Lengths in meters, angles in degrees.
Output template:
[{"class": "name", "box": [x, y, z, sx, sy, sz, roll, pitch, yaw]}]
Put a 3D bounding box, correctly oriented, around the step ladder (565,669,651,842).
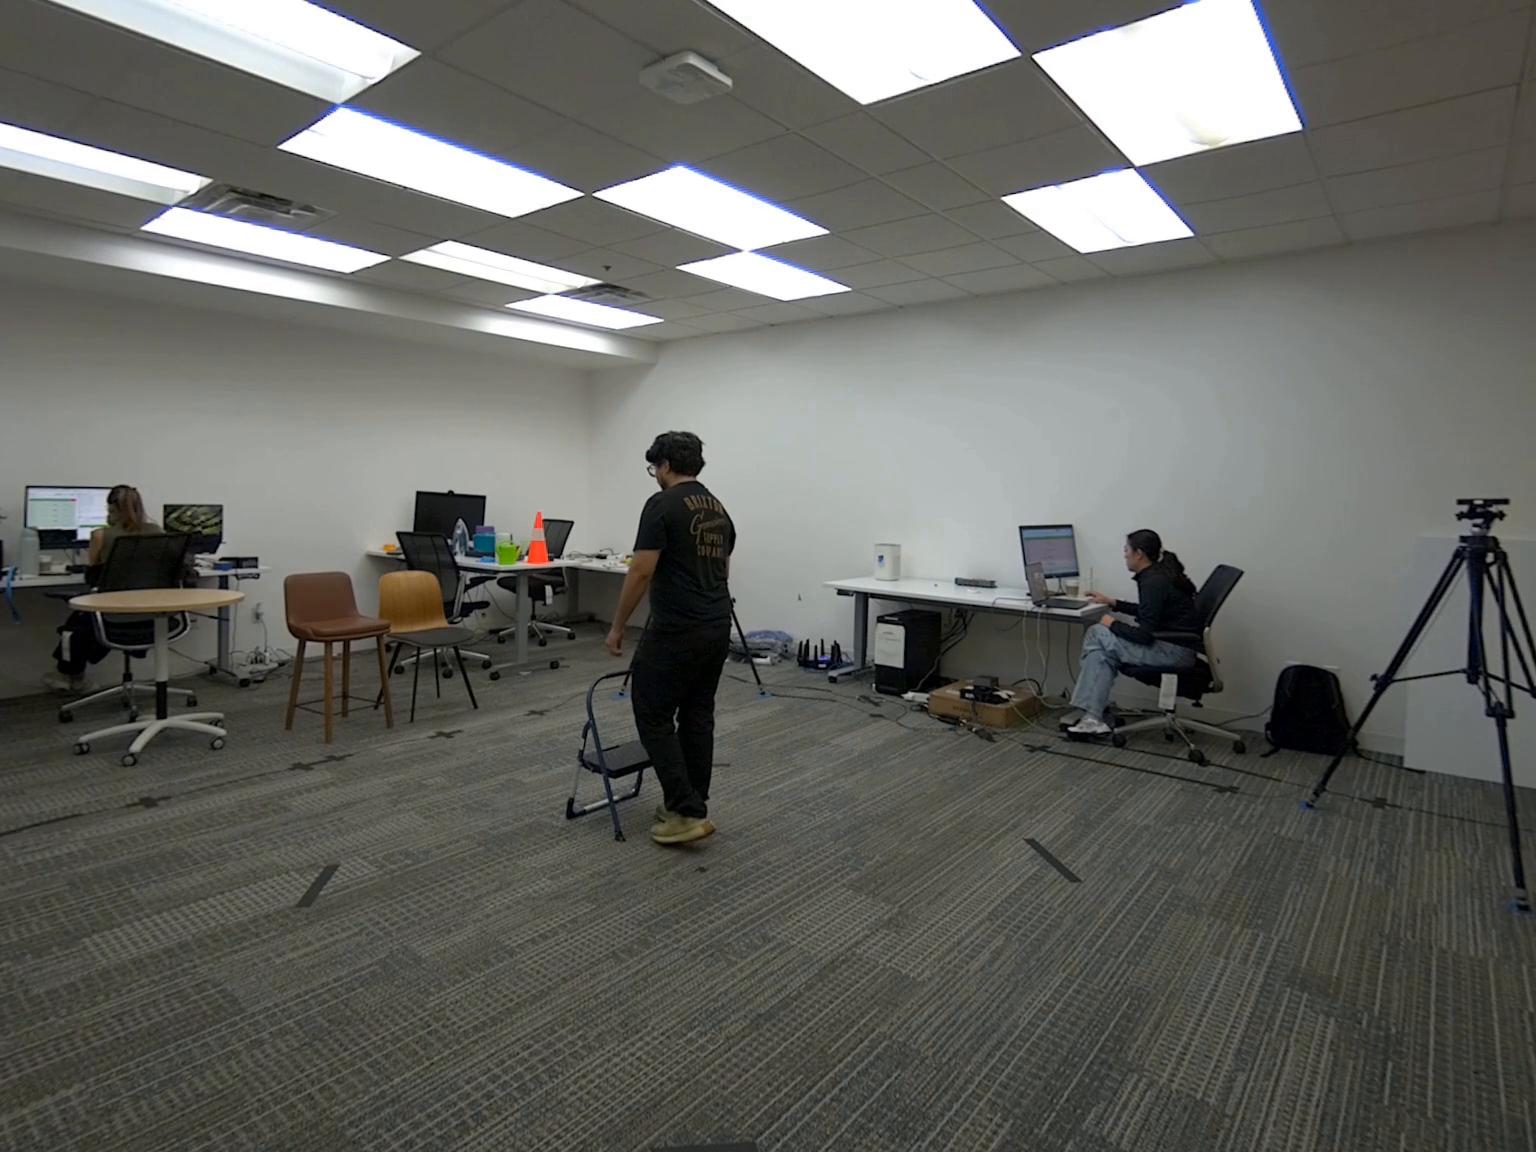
[{"class": "step ladder", "box": [-0.602, 0.715, 3.602, 0.361, 0.605, 0.418, 3, 4, 38]}]
